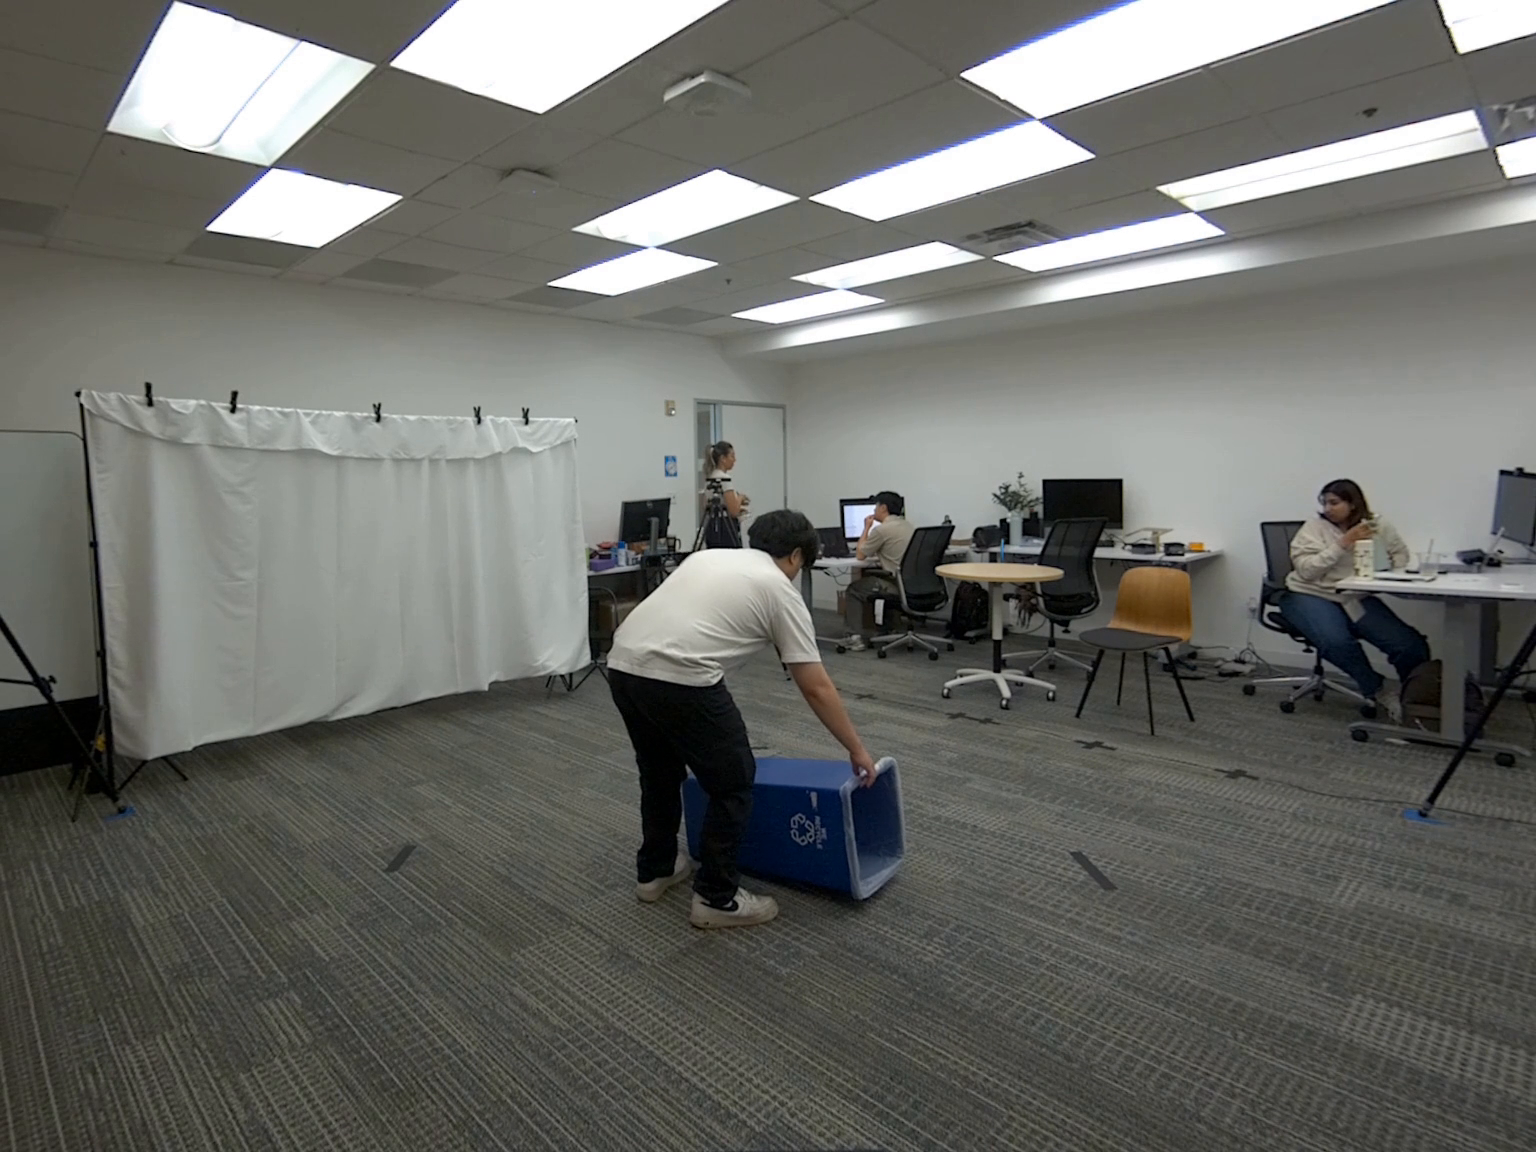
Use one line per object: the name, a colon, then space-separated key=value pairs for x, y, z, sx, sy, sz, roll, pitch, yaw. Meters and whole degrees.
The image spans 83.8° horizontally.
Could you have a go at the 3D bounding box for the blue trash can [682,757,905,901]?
blue trash can: x=0.079 y=0.859 z=3.065 sx=0.731 sy=0.374 sz=0.369 roll=-5 pitch=2 yaw=35
